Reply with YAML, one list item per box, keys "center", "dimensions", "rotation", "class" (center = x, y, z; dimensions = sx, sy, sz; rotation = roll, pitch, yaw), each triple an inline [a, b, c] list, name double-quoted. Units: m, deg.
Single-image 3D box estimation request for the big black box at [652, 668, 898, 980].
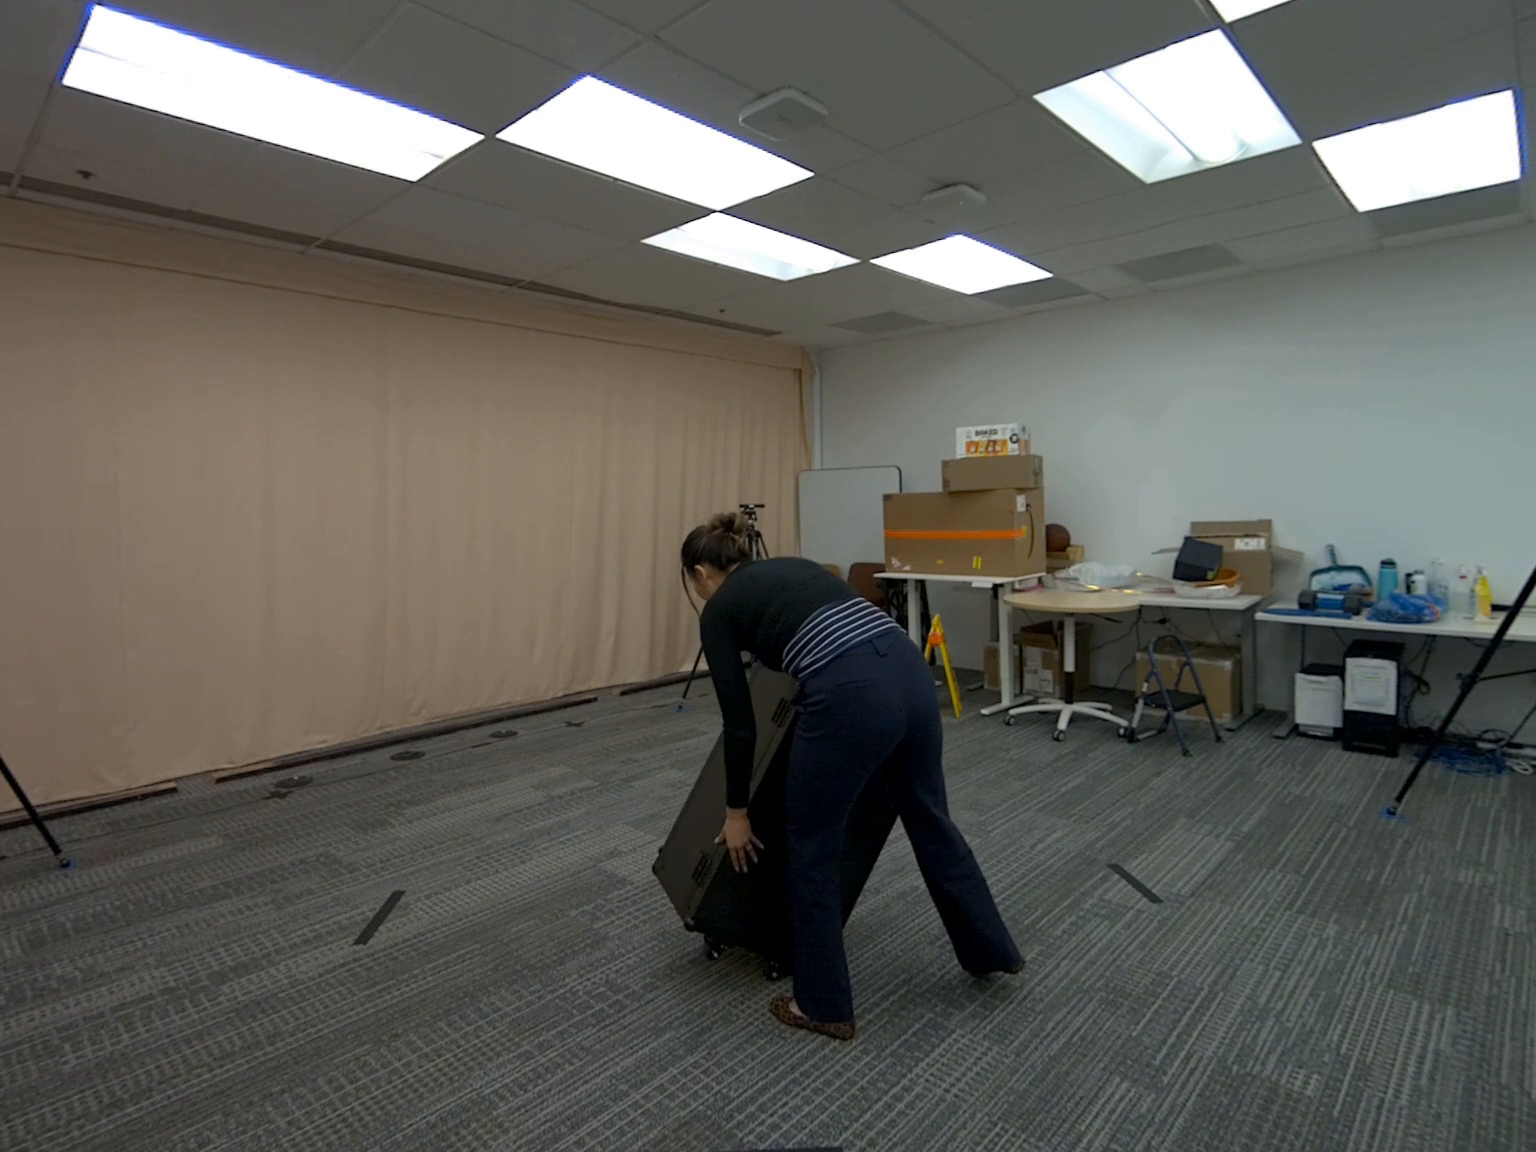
- center: [0.051, 0.735, 2.590]
  dimensions: [0.508, 0.861, 0.406]
  rotation: [29, -5, -23]
  class: "big black box"
